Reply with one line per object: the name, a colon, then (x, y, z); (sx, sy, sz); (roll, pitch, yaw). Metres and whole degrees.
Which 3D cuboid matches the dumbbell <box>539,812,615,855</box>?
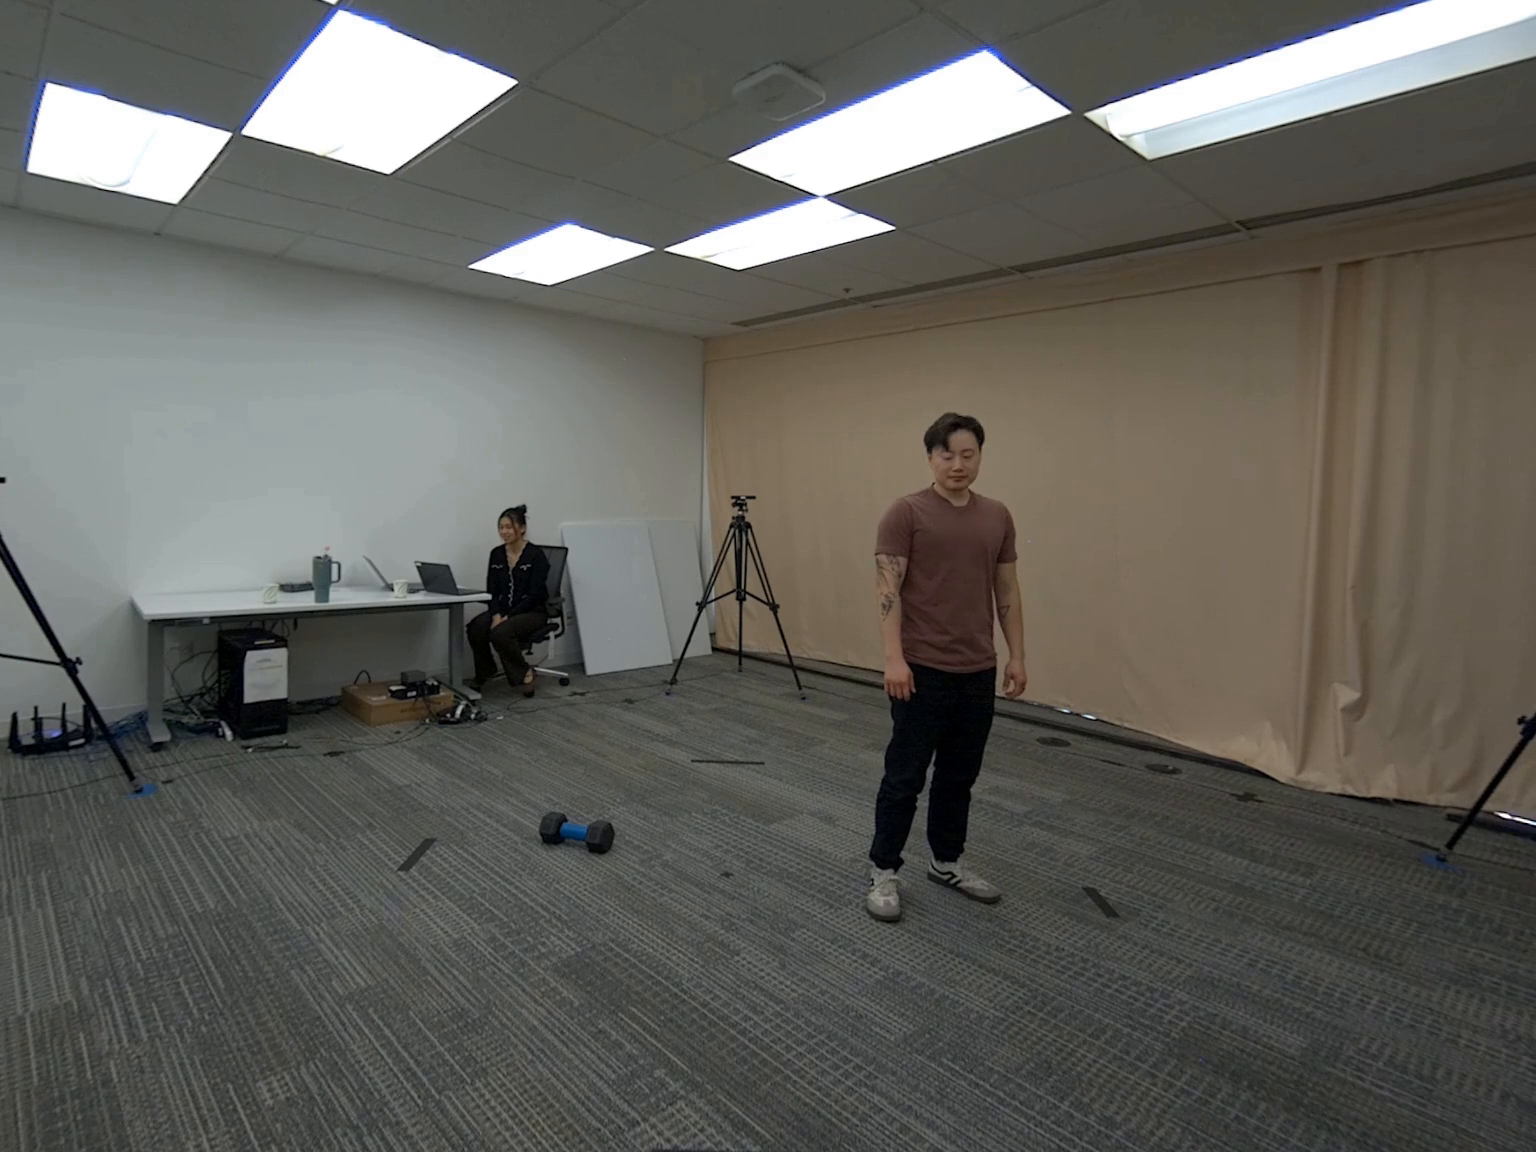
dumbbell: (-0.769, 1.017, 3.326); (0.298, 0.124, 0.105); (3, -25, 21)
